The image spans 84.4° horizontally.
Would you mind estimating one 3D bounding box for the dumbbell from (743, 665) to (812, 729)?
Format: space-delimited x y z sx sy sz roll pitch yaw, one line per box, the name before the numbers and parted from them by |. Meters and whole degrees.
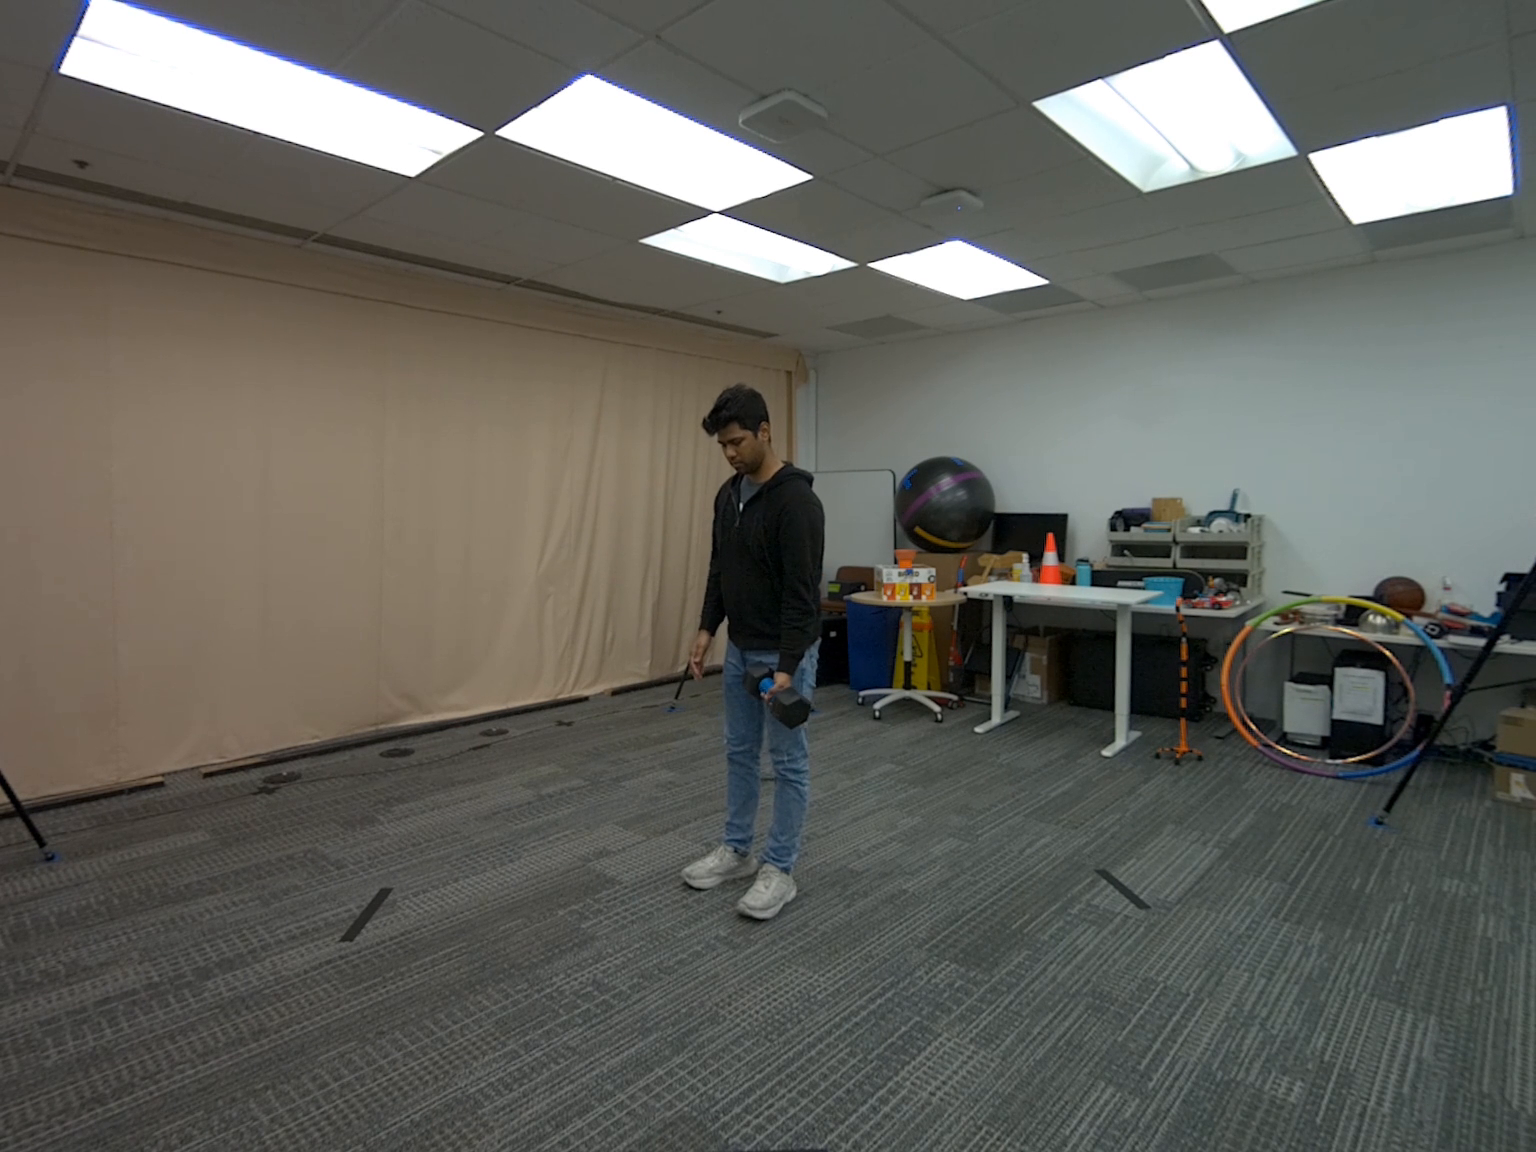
dumbbell | 0.014 0.377 2.731 0.121 0.106 0.302 -24 25 -16
